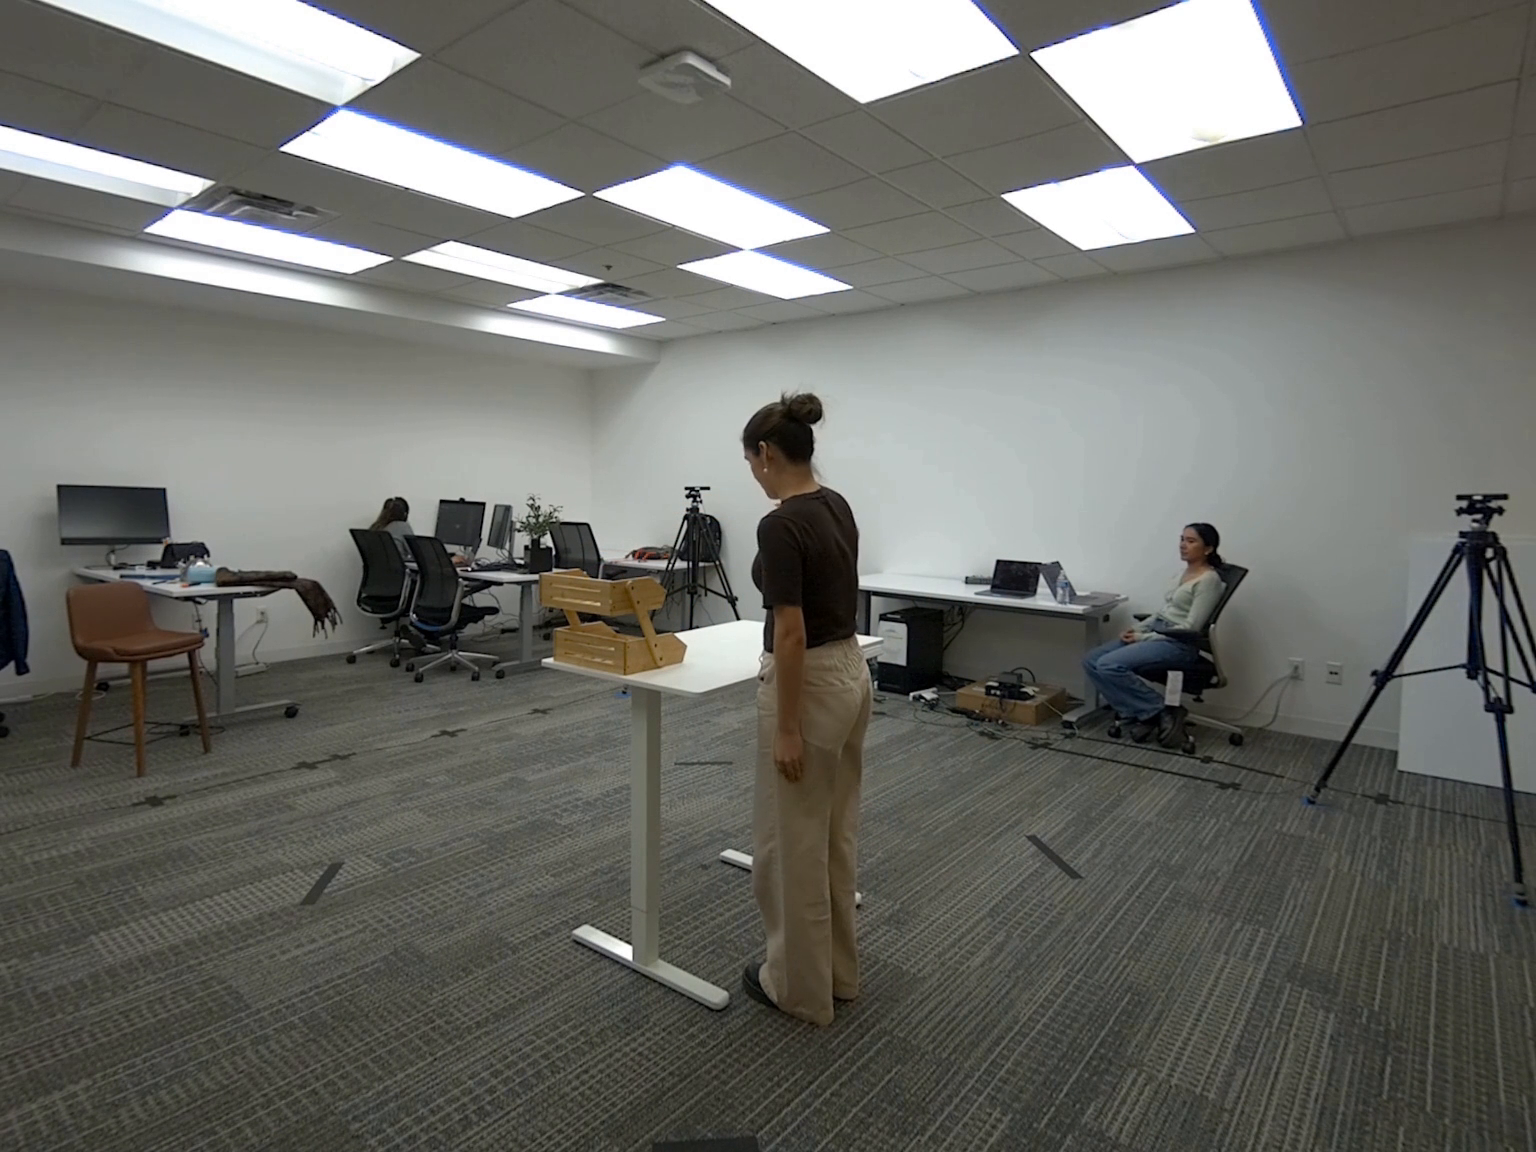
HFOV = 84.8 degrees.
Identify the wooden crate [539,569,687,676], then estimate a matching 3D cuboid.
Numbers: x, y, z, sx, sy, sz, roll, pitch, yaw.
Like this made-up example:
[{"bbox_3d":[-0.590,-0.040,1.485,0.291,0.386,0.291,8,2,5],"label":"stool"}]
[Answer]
[{"bbox_3d":[-0.453,0.115,2.455,0.335,0.272,0.294,4,7,37],"label":"wooden crate"}]
